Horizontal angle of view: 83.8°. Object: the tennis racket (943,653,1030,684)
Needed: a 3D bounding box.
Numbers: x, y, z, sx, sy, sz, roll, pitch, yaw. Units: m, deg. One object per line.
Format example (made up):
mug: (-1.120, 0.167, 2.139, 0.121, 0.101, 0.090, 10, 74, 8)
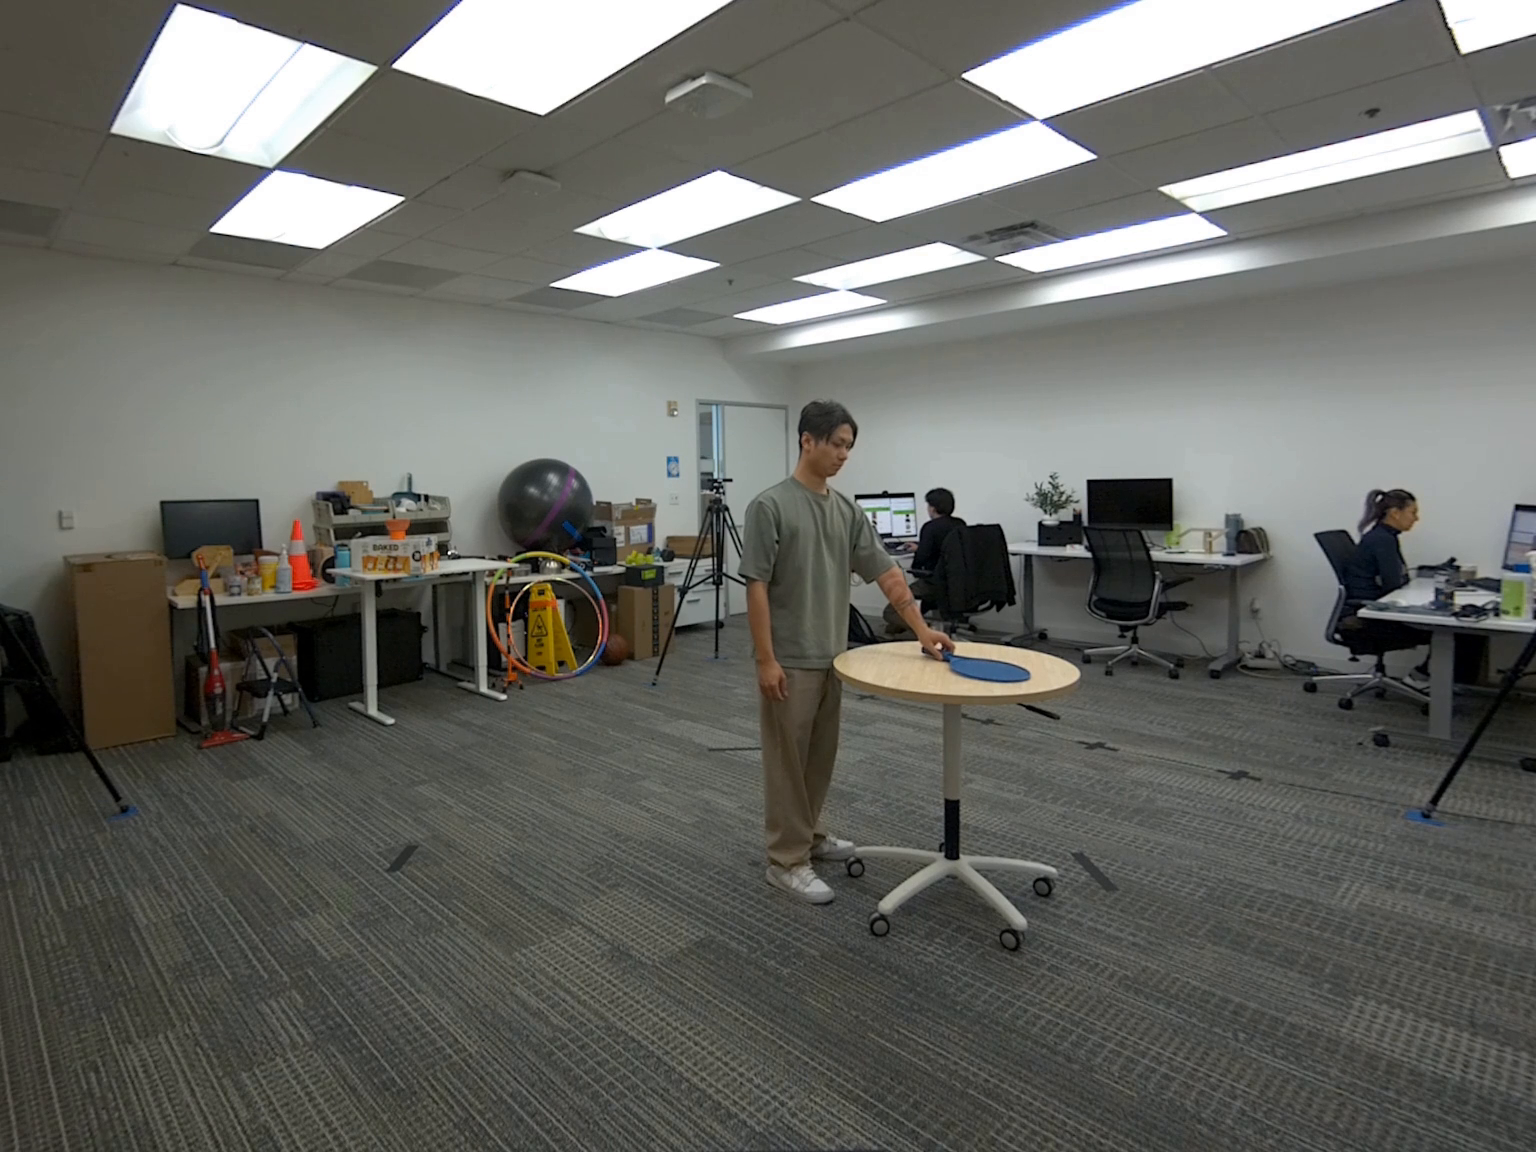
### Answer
tennis racket: (0.650, 0.280, 2.721, 0.209, 0.031, 0.445, -4, 8, -27)
